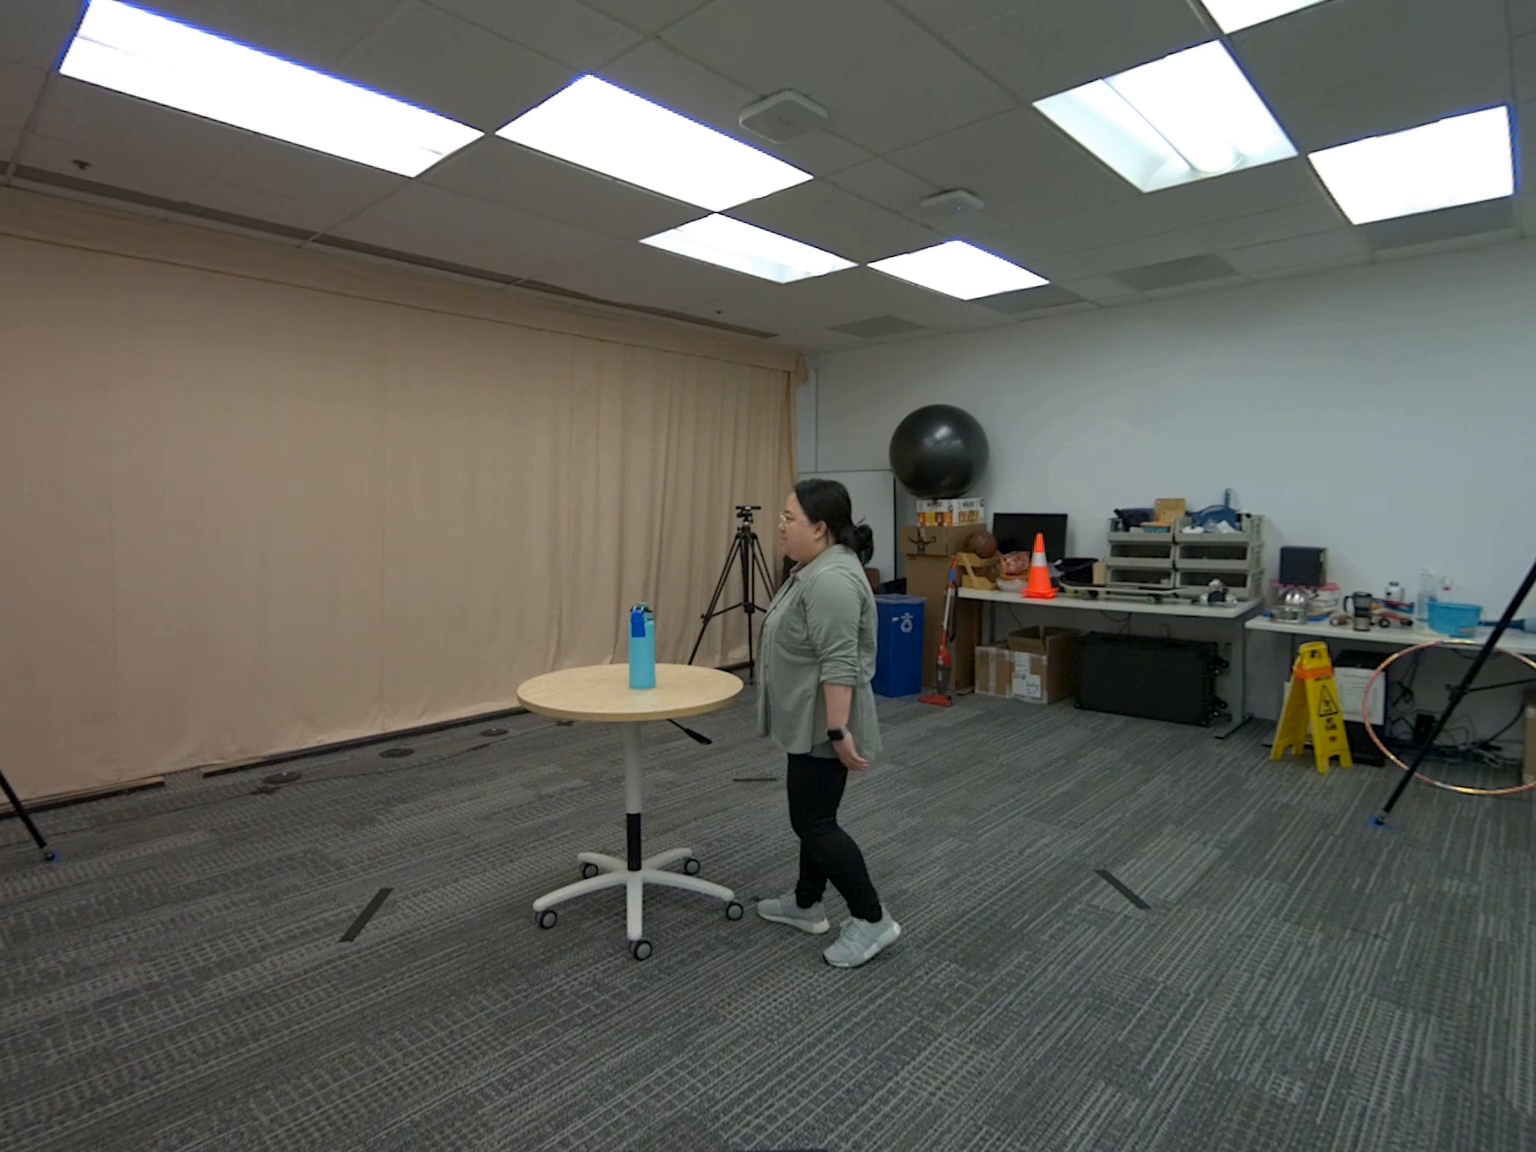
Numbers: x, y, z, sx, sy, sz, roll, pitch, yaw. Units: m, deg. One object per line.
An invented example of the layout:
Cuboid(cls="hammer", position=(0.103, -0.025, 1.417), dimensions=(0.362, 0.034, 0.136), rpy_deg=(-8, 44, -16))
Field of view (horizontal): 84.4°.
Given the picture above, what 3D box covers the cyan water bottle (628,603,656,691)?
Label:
Cuboid(cls="cyan water bottle", position=(-0.425, 0.237, 2.847), dimensions=(0.092, 0.282, 0.093), rpy_deg=(0, 4, -2))
